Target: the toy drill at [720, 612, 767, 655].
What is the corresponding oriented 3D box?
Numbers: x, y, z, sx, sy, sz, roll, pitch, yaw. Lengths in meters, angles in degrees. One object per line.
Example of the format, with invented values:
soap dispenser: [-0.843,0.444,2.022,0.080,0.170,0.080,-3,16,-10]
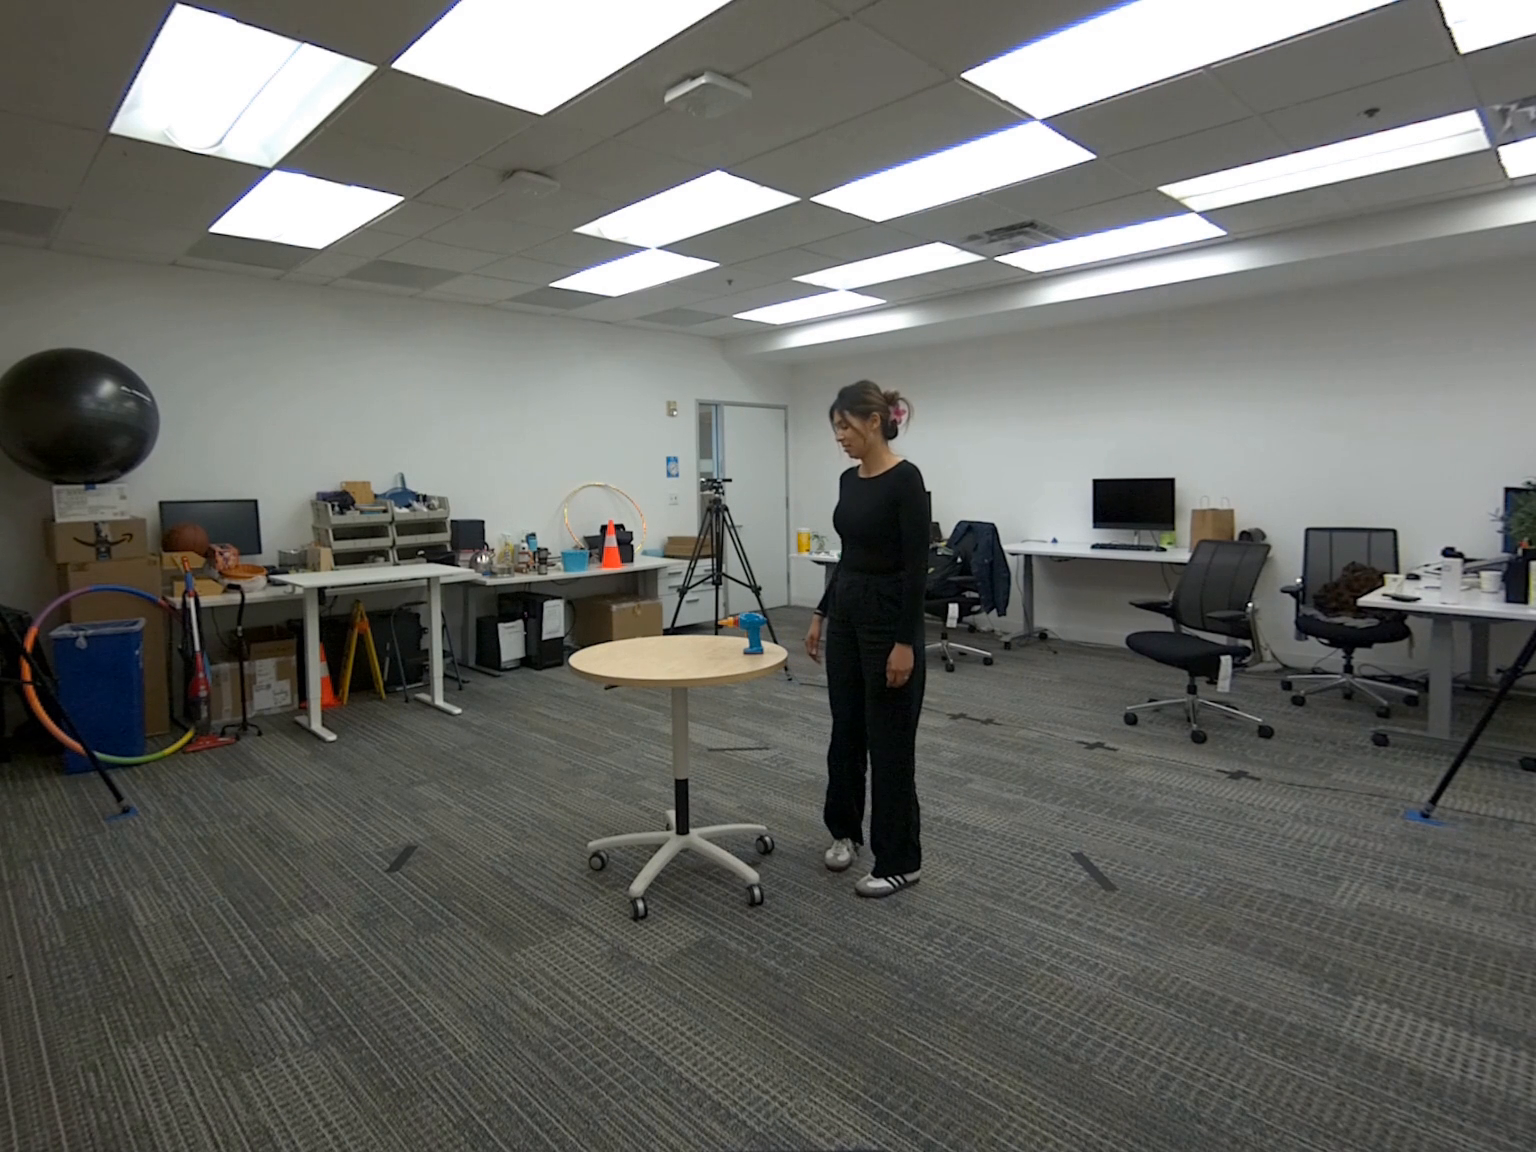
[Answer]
toy drill: [-0.085,0.198,2.994,0.169,0.145,0.061,-1,4,-2]
